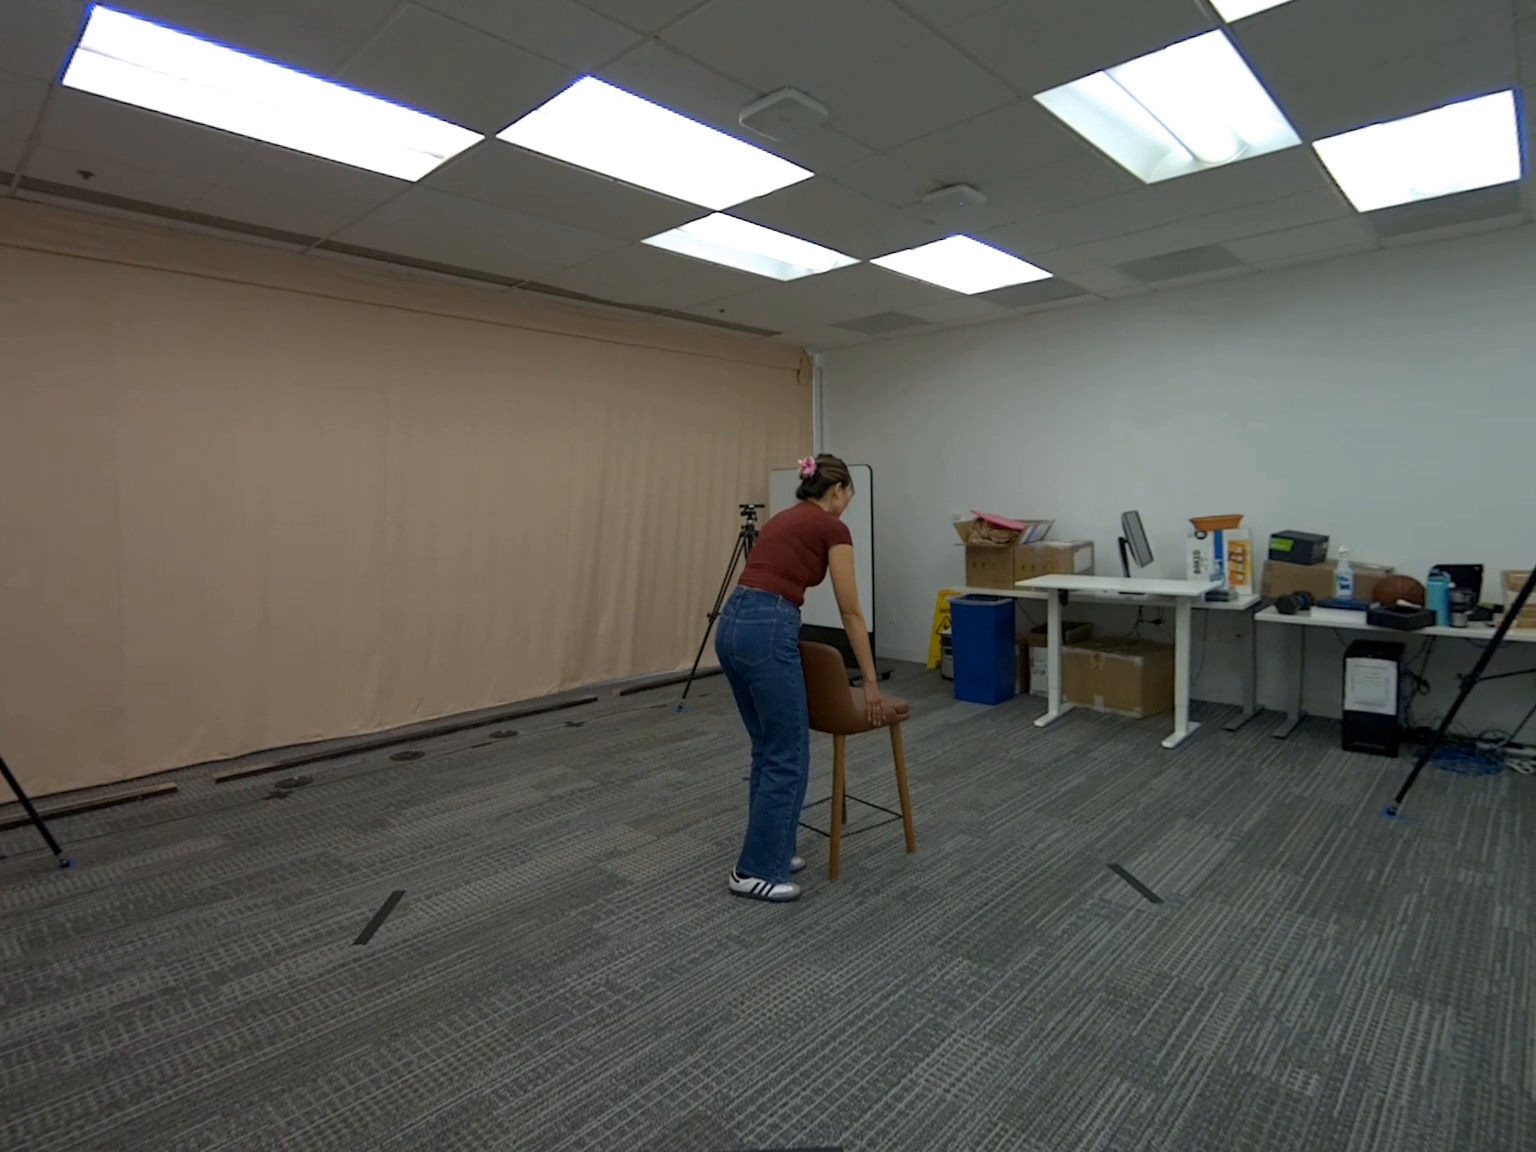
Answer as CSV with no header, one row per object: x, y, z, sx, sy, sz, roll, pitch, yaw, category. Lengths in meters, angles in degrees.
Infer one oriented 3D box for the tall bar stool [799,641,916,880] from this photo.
0.281,0.663,3.360,0.454,0.887,0.471,-6,6,-38,tall bar stool
